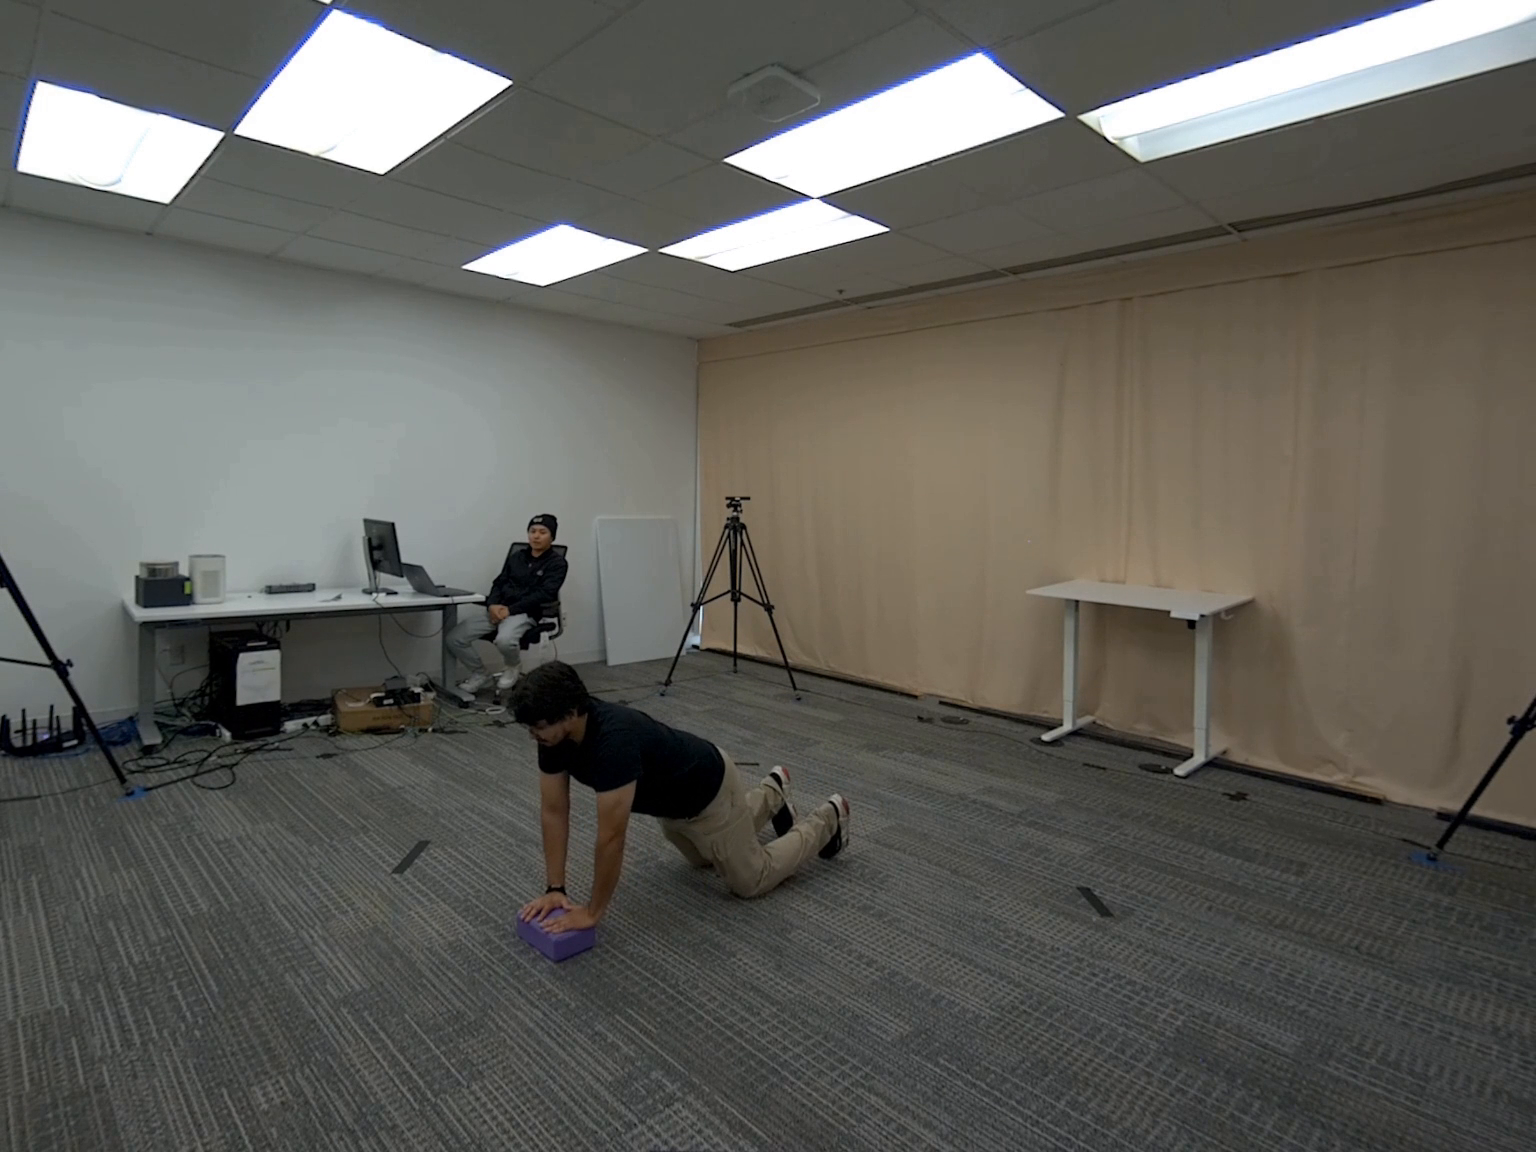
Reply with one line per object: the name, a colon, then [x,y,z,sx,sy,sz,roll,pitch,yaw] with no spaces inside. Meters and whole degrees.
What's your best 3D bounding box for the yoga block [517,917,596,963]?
yoga block: [-0.668,1.104,2.619,0.235,0.076,0.146,7,9,44]
